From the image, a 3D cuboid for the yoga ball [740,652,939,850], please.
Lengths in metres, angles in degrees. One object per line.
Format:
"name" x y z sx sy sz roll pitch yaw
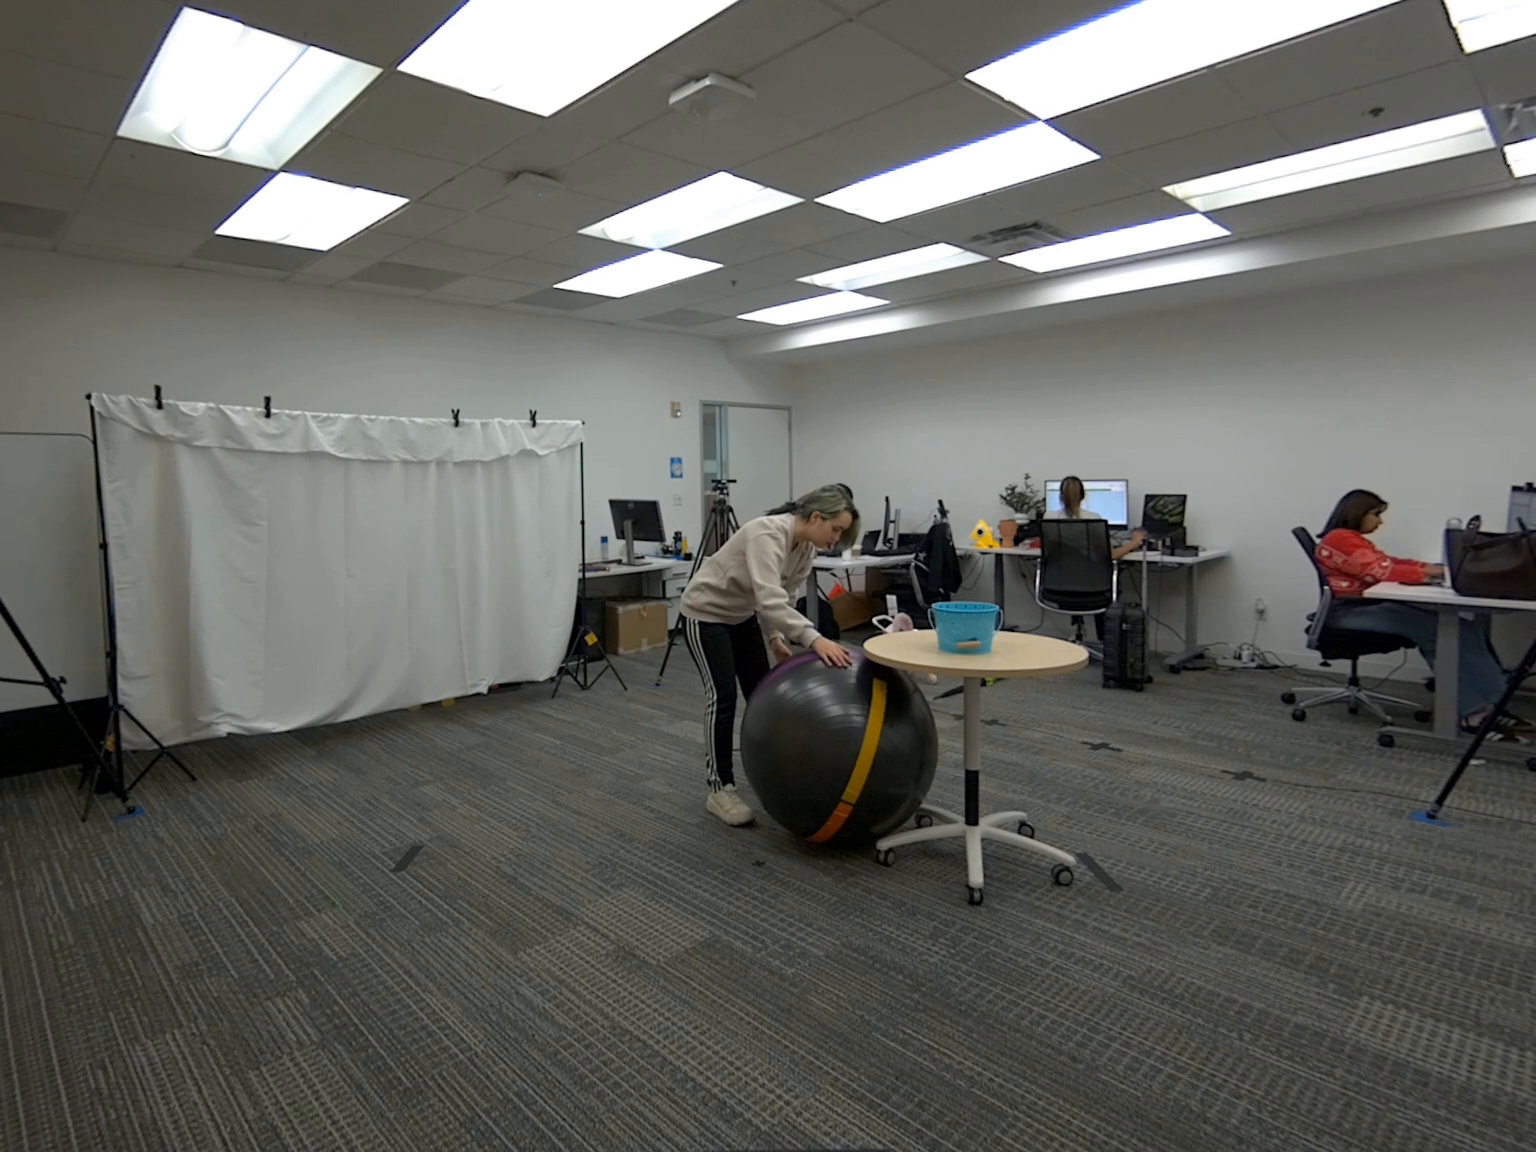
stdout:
"yoga ball" 0.268 0.648 3.304 0.757 0.755 0.762 -1 5 -2
